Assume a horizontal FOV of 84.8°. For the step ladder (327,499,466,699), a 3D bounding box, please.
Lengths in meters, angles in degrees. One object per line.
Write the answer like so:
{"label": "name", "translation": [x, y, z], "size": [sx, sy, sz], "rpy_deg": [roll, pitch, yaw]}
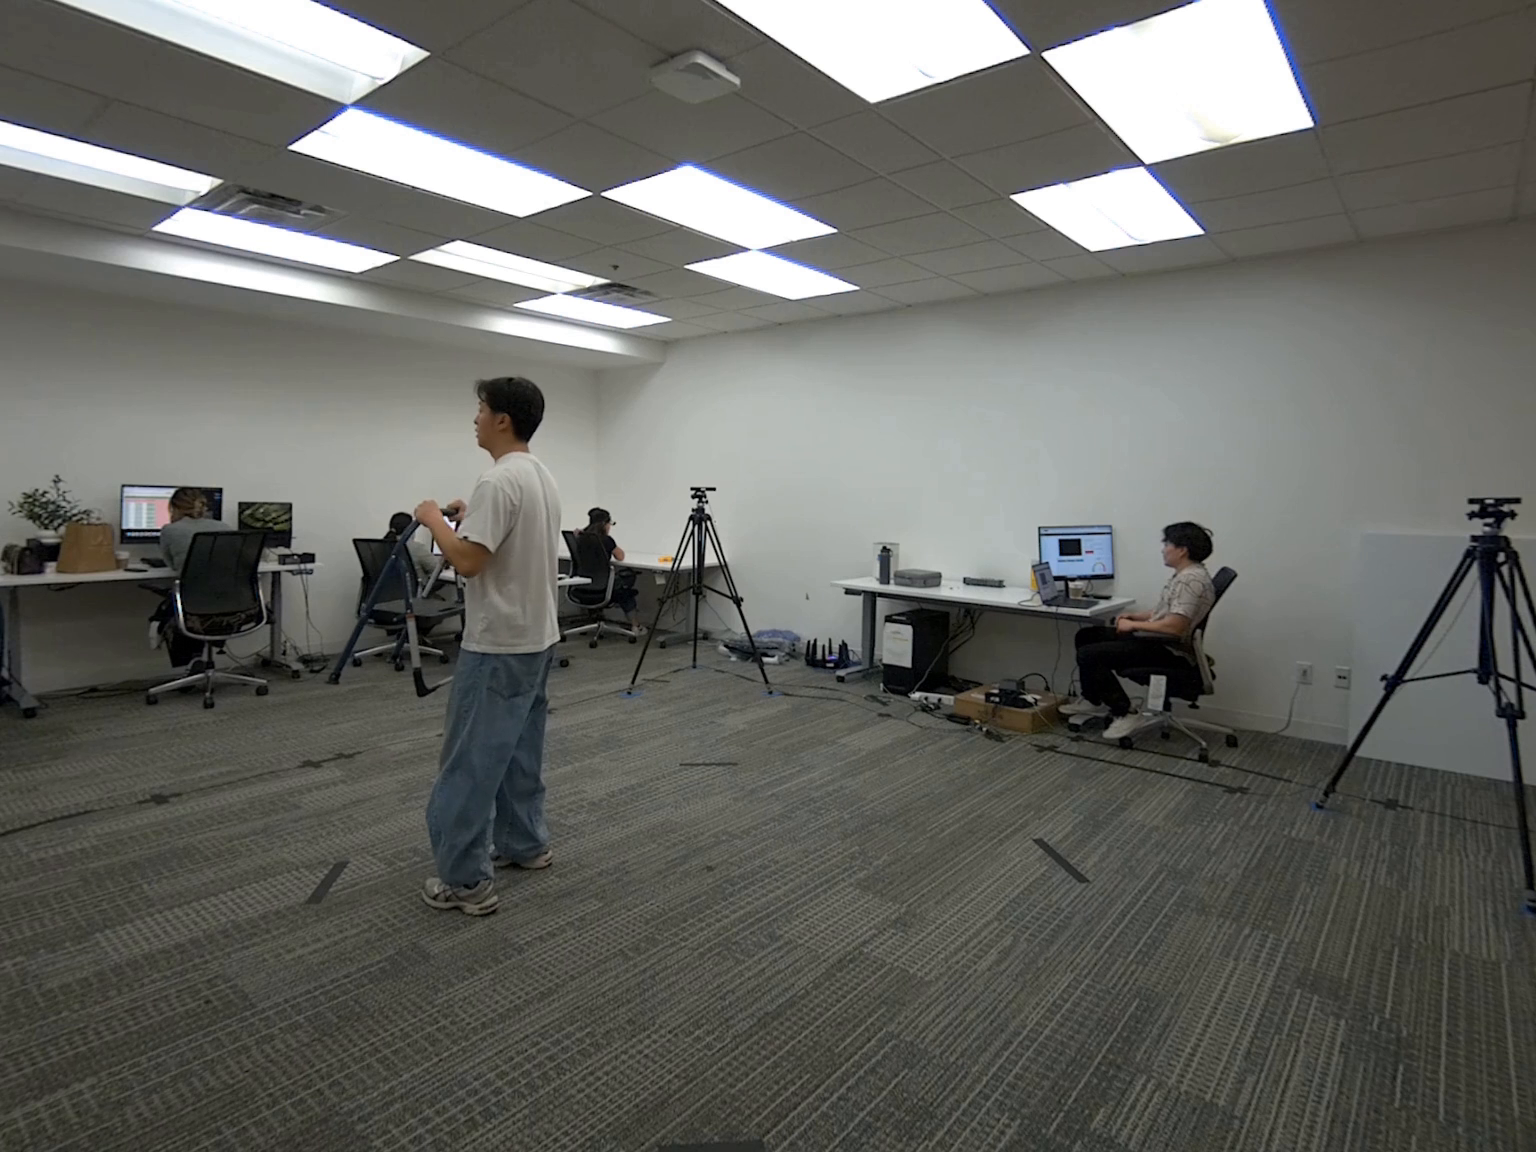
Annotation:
{"label": "step ladder", "translation": [-1.229, 0.058, 2.964], "size": [0.351, 0.605, 0.429], "rpy_deg": [9, 2, 4]}
